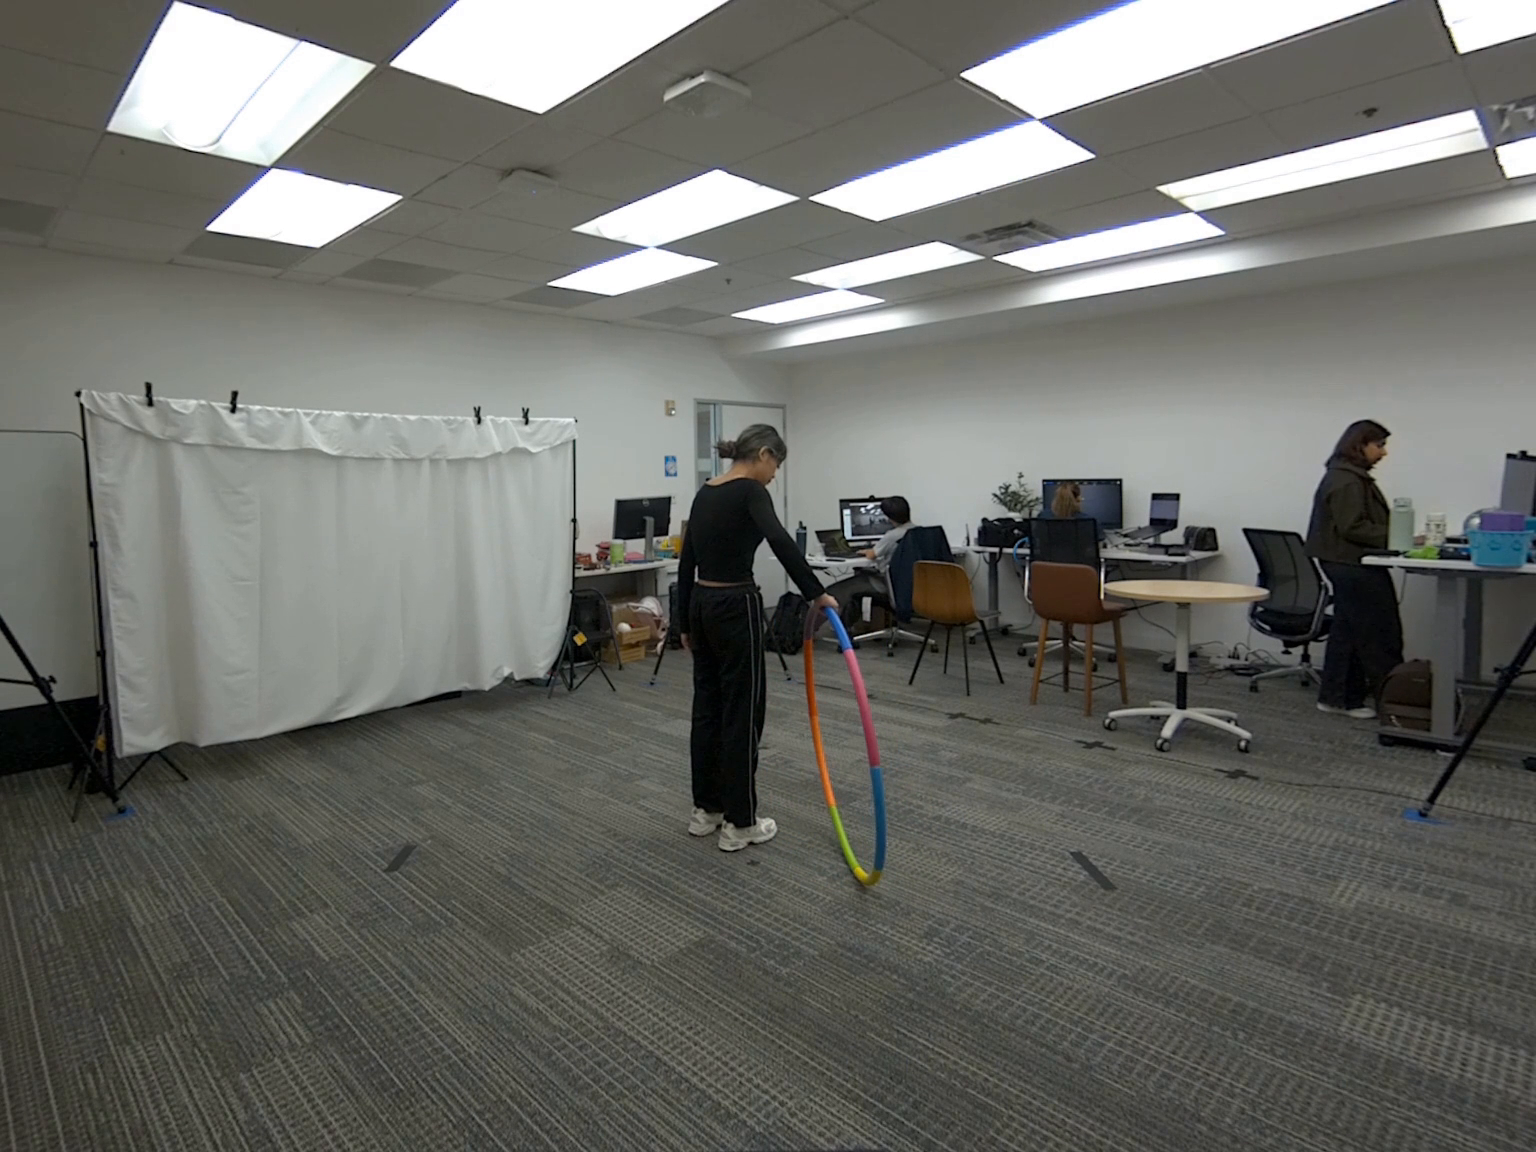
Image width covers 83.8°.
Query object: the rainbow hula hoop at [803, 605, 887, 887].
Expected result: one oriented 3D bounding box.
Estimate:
[{"bbox_3d":[0.250,0.567,3.005,0.035,0.974,0.989,-9,6,-7],"label":"rainbow hula hoop"}]
